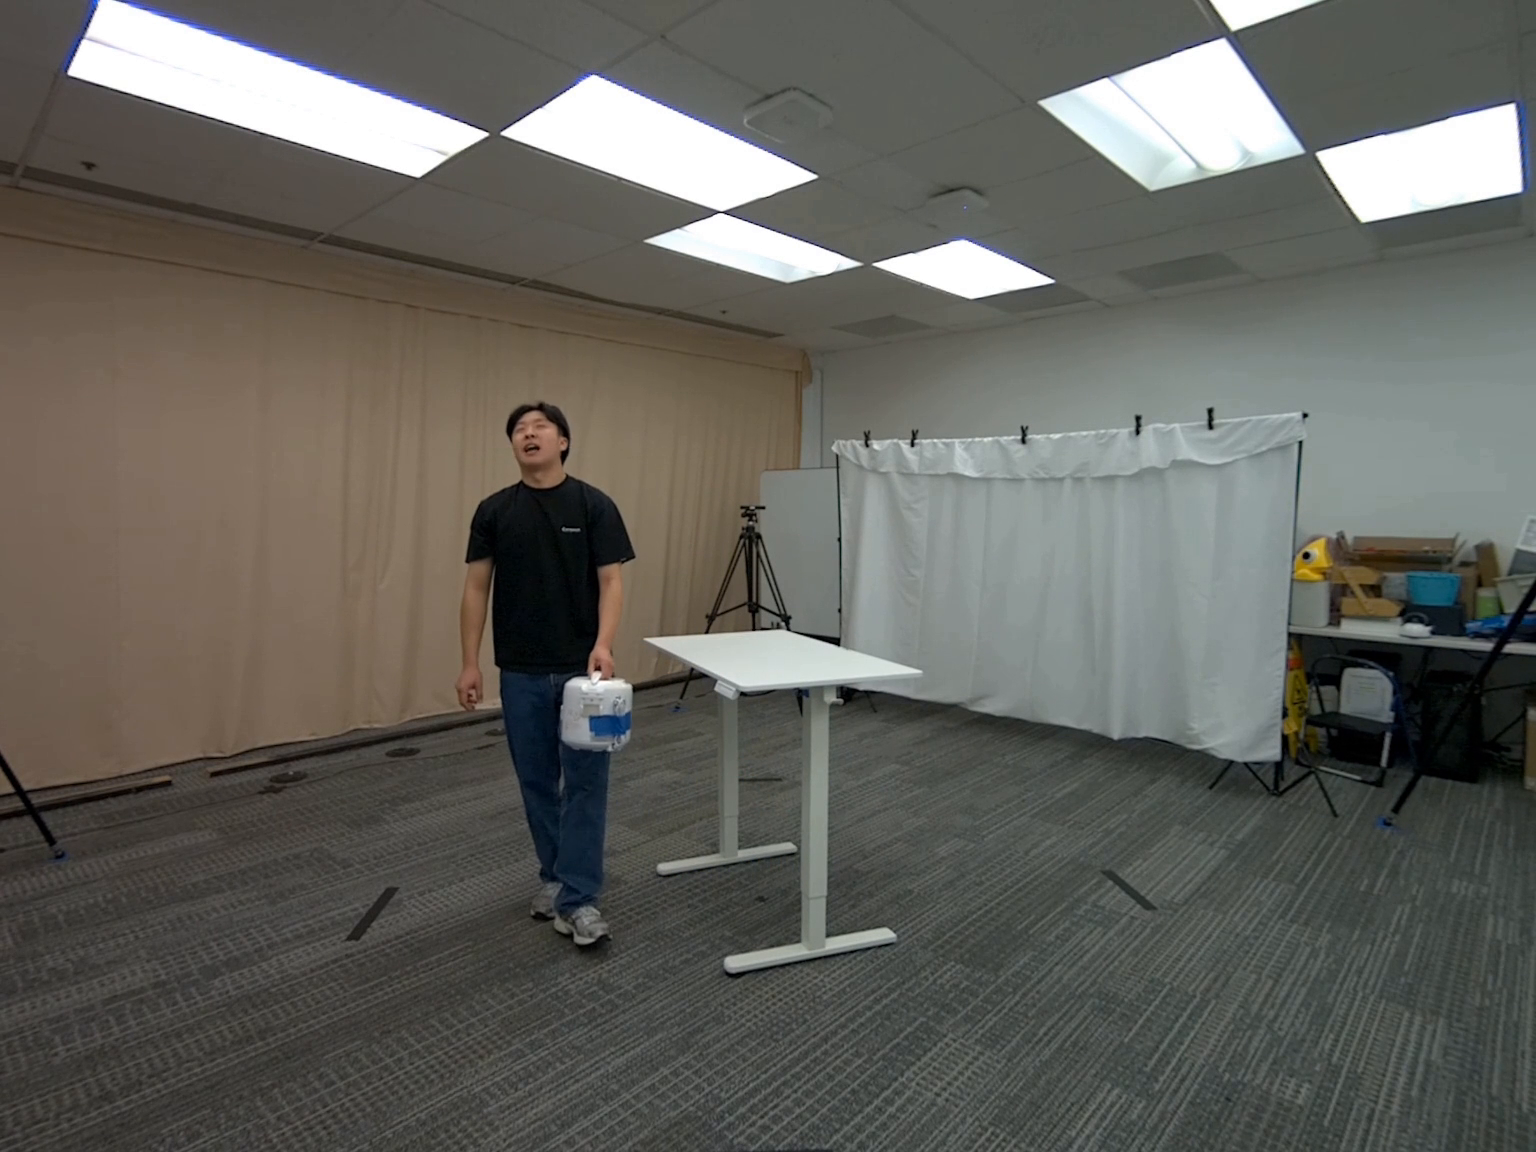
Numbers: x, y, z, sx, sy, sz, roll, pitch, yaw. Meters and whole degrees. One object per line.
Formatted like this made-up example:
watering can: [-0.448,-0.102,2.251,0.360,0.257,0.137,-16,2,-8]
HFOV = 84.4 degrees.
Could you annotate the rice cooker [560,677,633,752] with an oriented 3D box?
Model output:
rice cooker: [-0.521,0.411,2.581,0.218,0.233,0.219,1,-4,2]
